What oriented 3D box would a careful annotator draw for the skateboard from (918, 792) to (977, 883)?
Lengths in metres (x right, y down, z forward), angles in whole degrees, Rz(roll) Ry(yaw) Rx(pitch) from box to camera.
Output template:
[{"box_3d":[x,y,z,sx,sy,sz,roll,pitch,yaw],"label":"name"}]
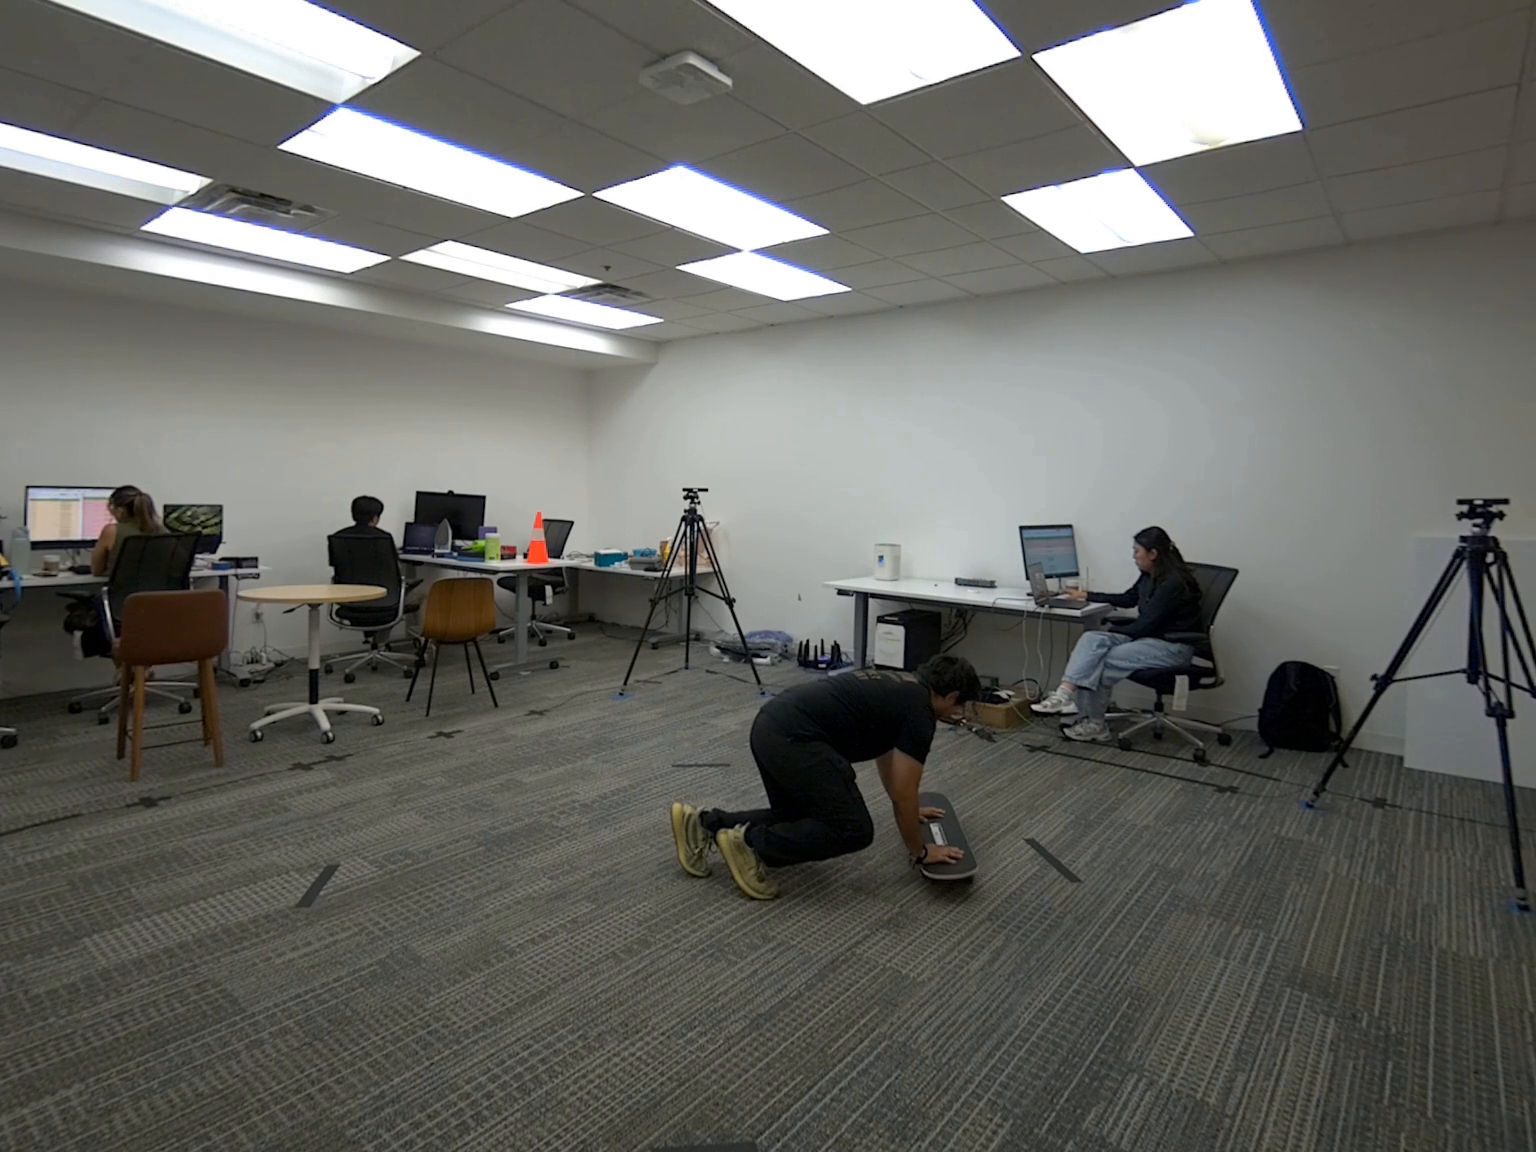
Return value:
[{"box_3d":[0.648,1.014,3.261,0.194,0.110,0.786,-9,6,3],"label":"skateboard"}]
